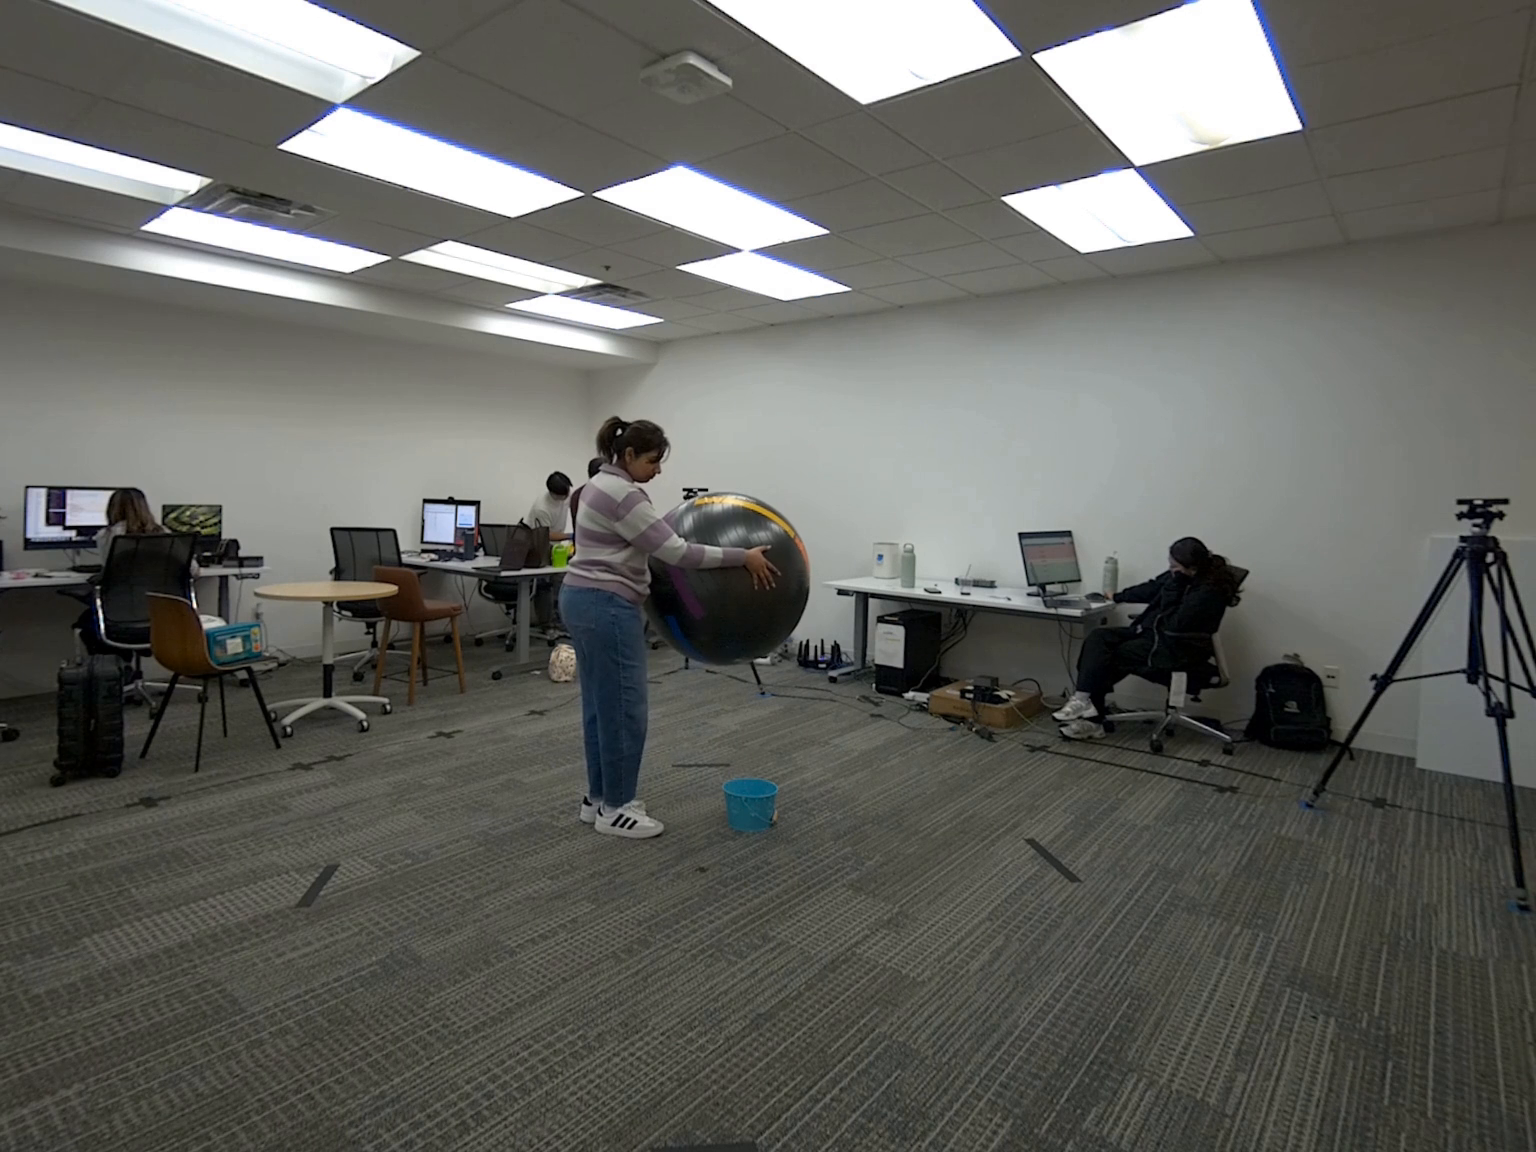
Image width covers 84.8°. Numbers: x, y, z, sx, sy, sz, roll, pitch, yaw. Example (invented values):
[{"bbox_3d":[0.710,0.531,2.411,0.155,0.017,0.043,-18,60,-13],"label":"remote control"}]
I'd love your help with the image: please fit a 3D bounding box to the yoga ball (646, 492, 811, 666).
[{"bbox_3d":[-0.201,0.014,3.758,0.757,0.756,0.761,1,4,-2],"label":"yoga ball"}]
